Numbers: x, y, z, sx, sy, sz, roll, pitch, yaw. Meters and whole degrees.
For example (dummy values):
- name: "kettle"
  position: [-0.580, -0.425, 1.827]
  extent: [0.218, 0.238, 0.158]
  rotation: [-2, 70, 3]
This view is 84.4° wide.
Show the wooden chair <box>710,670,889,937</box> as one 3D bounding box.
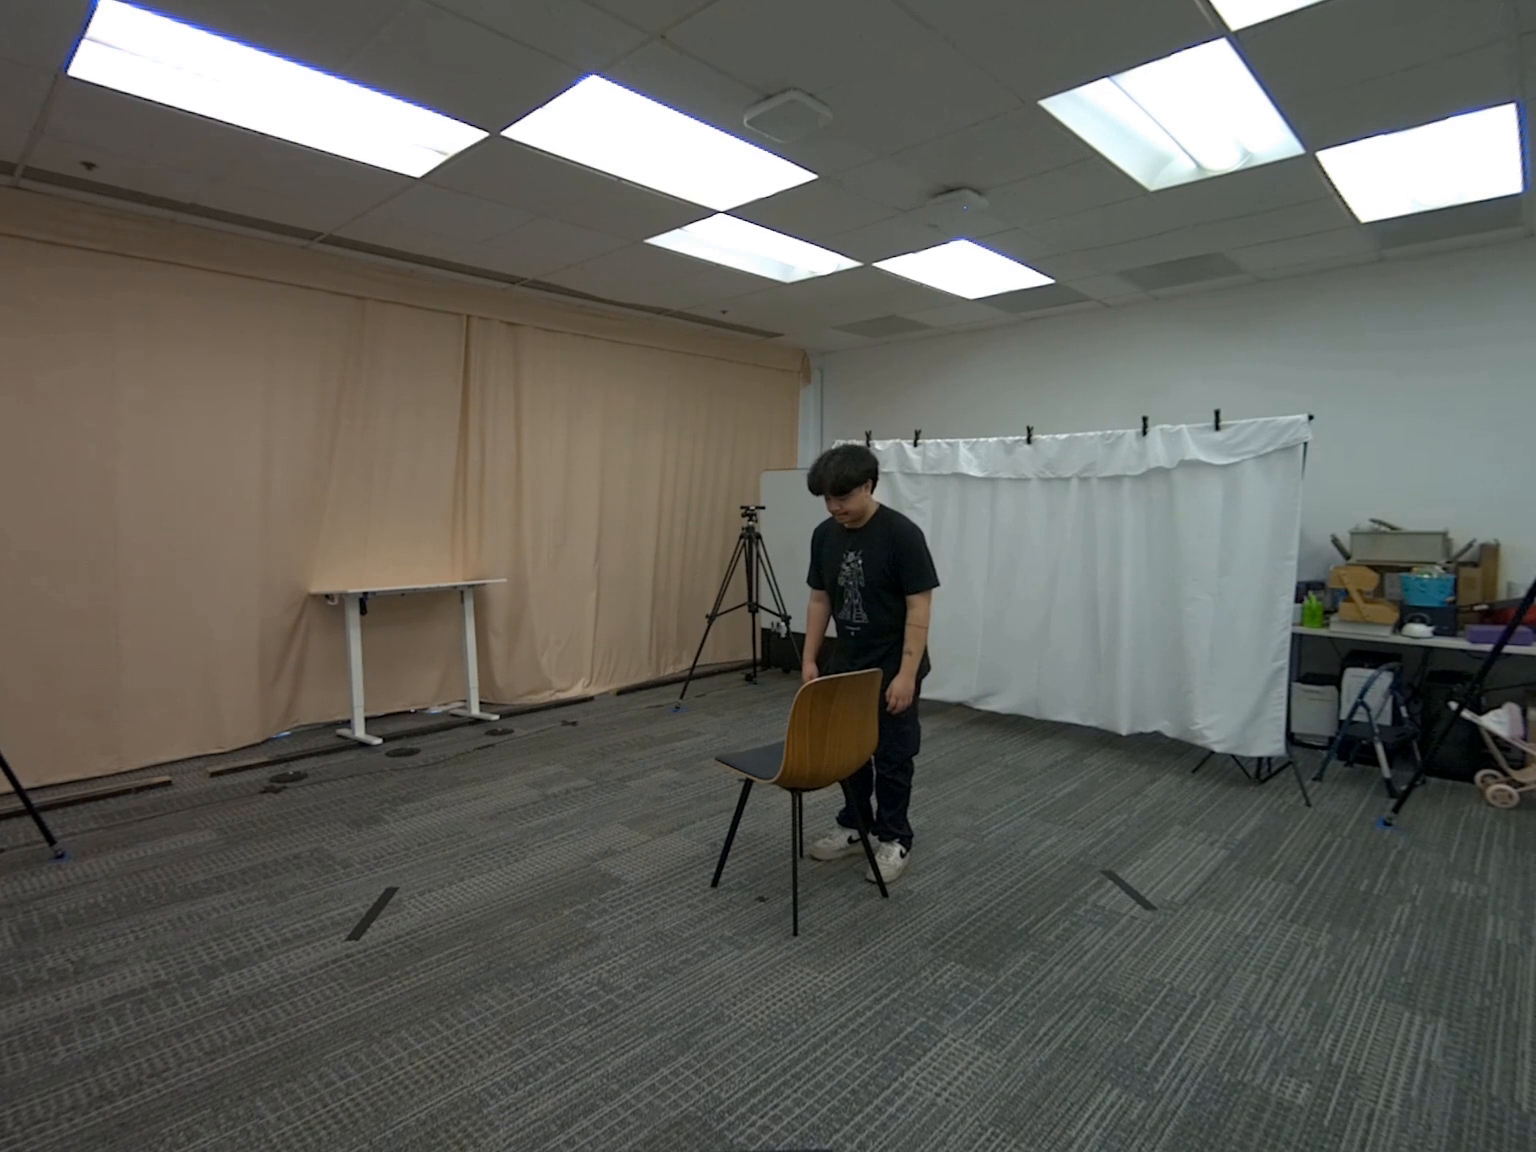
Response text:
- name: "wooden chair"
  position: [0.100, 0.712, 3.010]
  extent: [0.464, 0.874, 0.541]
  rotation: [-3, 9, -40]
